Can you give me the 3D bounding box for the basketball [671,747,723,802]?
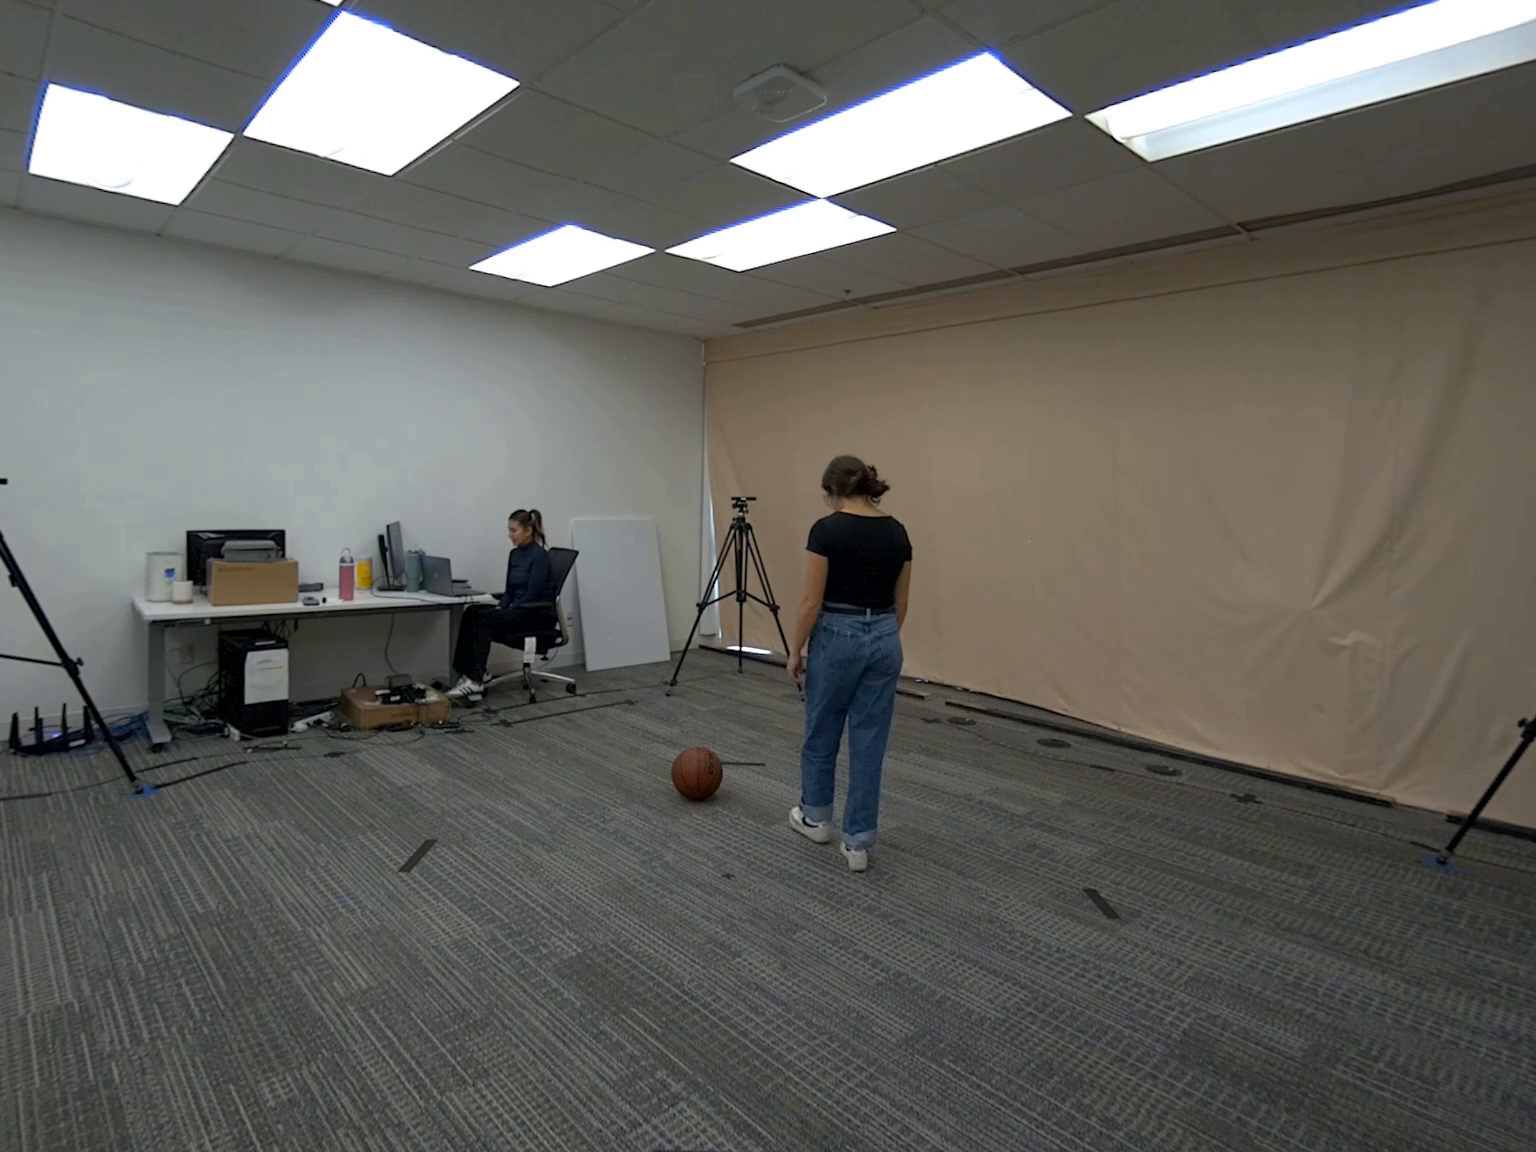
[{"bbox_3d":[-0.340,0.910,3.907,0.236,0.235,0.237,1,4,-1],"label":"basketball"}]
